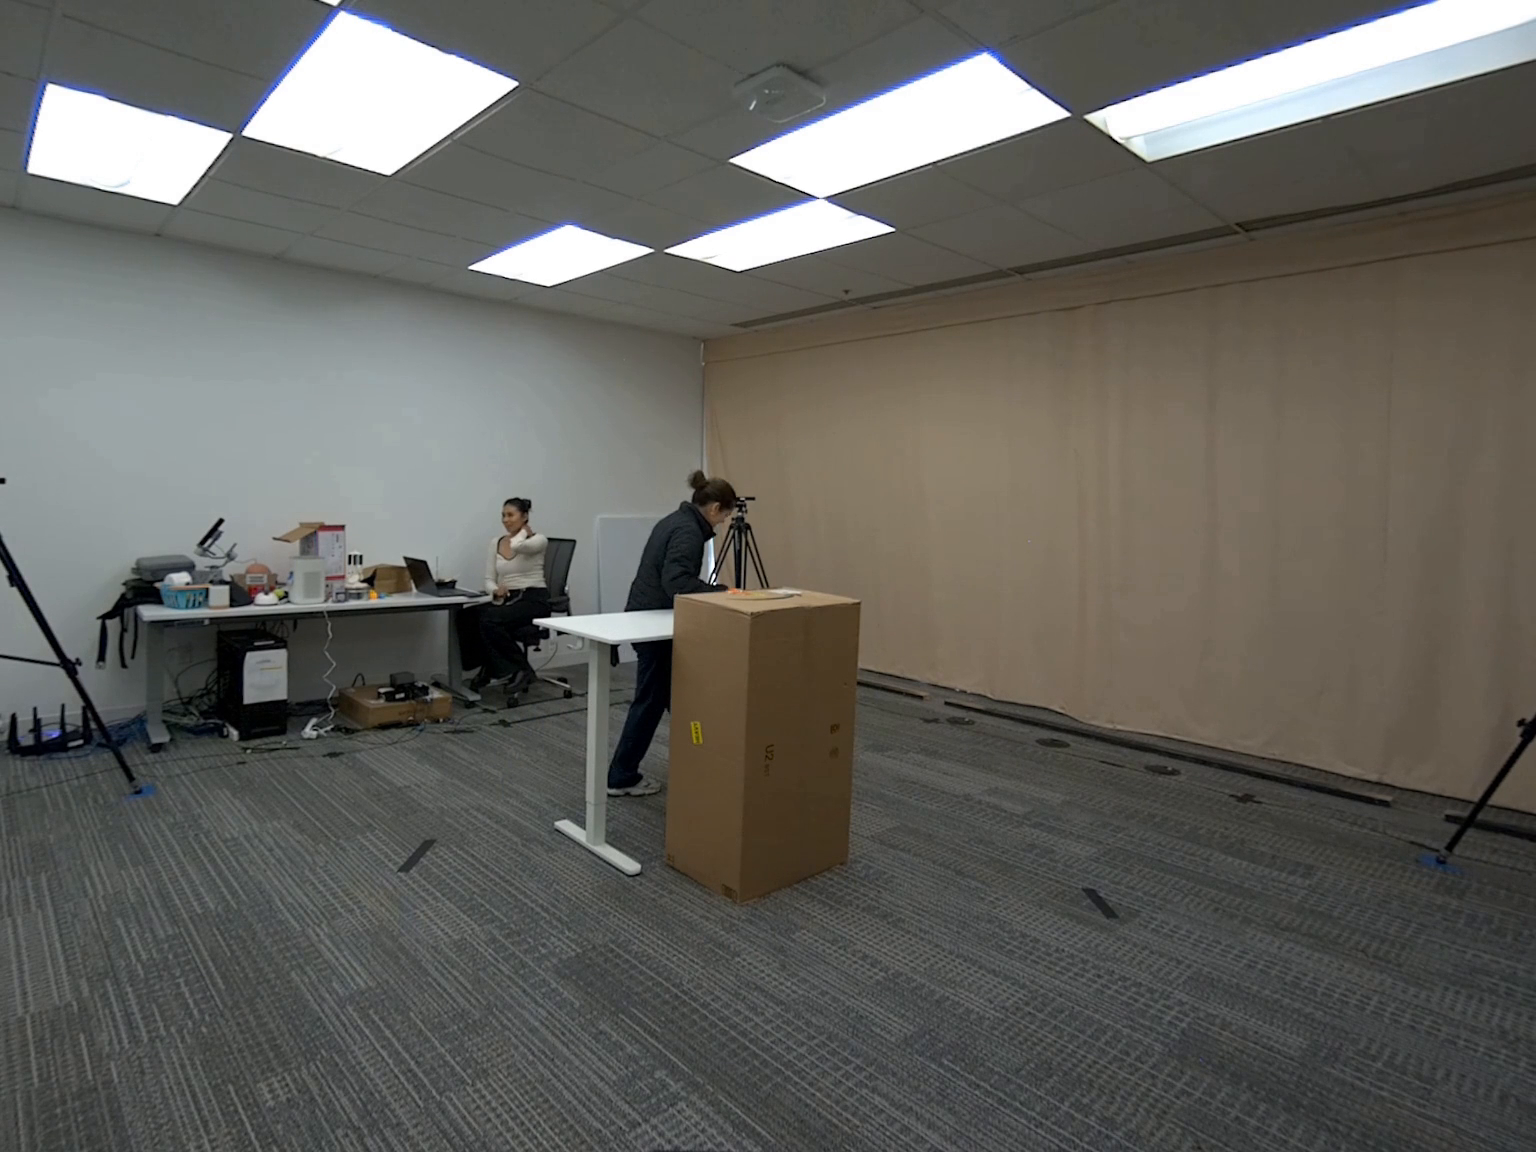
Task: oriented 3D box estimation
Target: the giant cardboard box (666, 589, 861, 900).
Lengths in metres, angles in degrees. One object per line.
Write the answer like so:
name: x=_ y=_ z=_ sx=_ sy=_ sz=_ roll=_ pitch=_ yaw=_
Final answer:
giant cardboard box: x=-0.021 y=0.589 z=3.165 sx=0.571 sy=1.024 sz=0.458 roll=-2 pitch=6 yaw=-41
